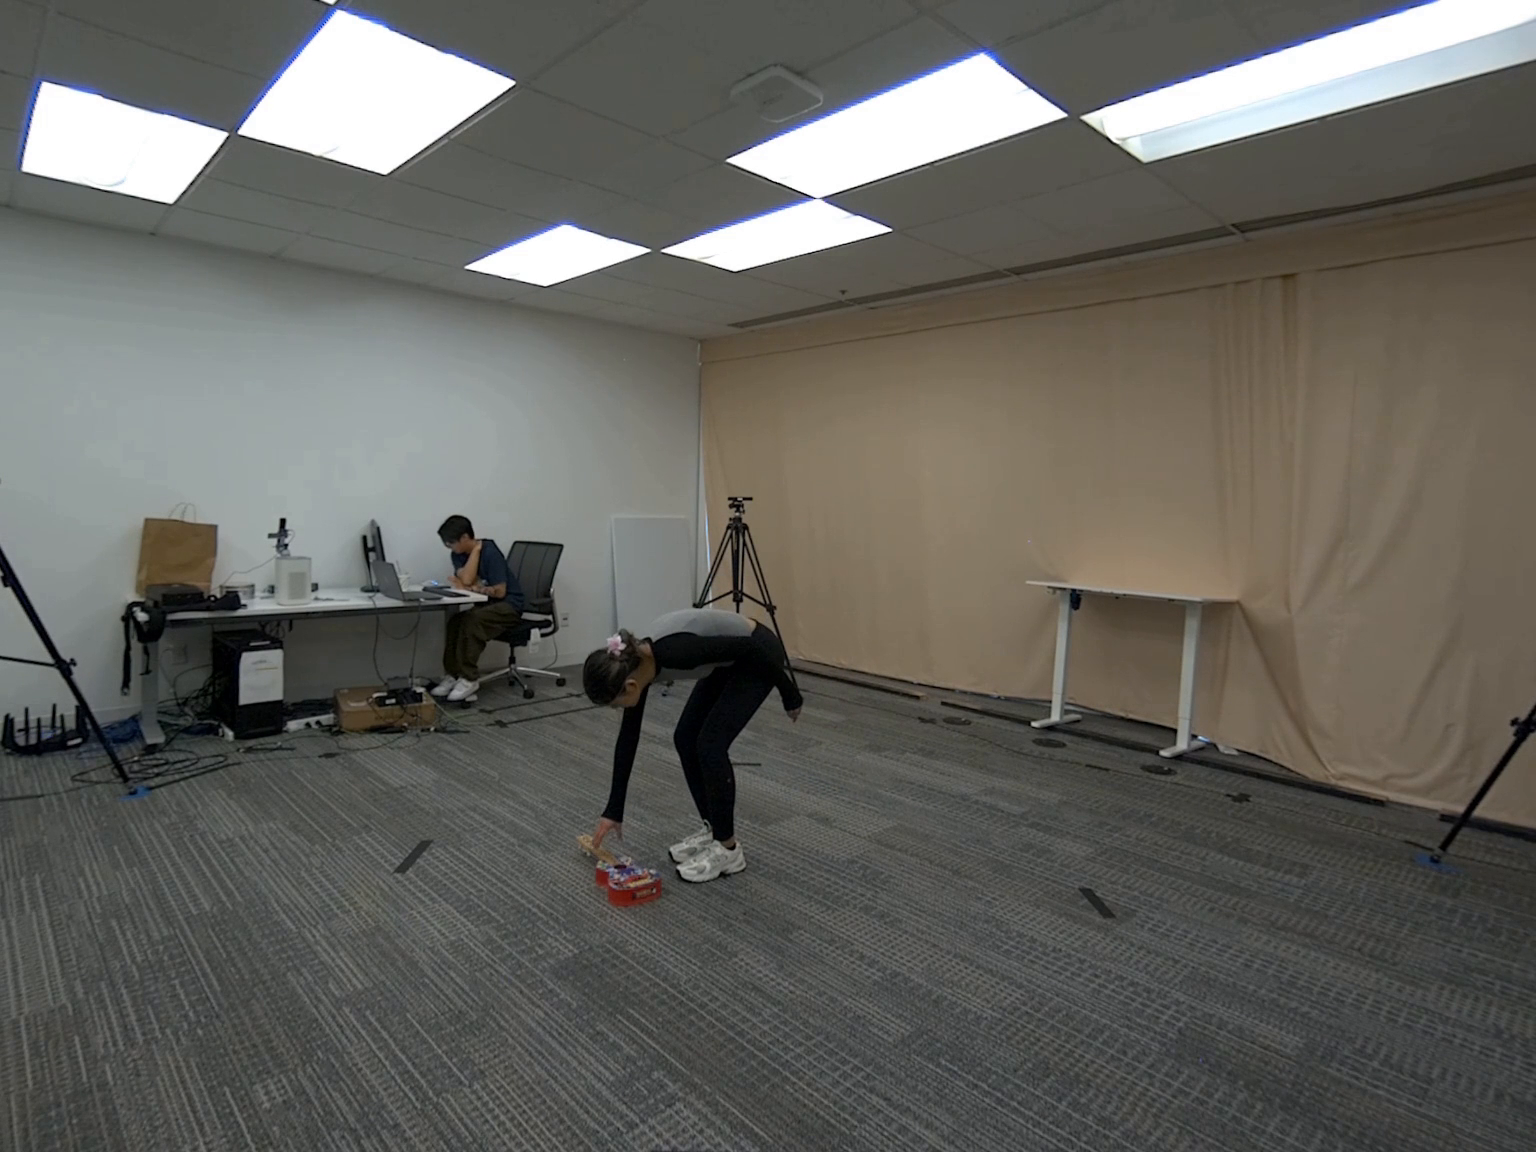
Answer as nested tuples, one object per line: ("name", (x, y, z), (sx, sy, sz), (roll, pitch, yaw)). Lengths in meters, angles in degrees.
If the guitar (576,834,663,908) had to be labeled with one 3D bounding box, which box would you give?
("guitar", (-0.556, 1.063, 3.095), (0.189, 0.070, 0.509), (-1, 6, -27))
